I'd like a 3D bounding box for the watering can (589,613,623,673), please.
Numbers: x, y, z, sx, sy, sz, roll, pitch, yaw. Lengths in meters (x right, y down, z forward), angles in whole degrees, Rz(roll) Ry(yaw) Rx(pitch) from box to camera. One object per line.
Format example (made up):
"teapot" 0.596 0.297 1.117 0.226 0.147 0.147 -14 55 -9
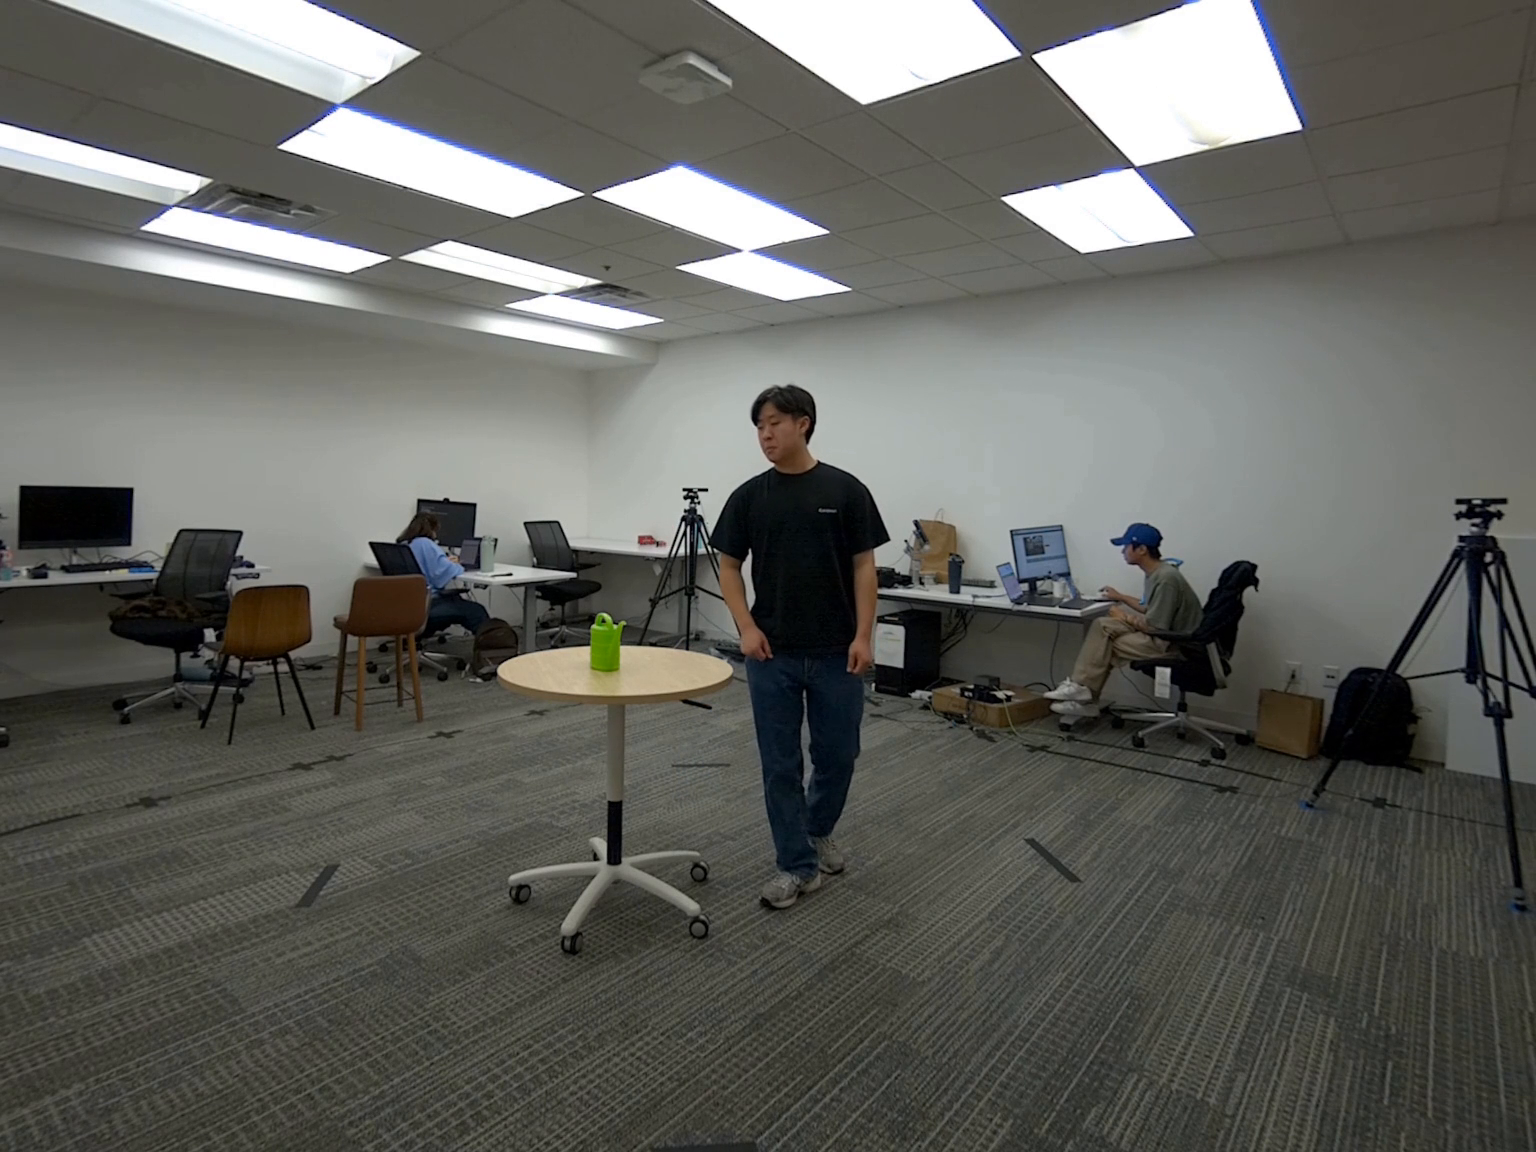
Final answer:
"watering can" -0.532 0.215 2.754 0.096 0.176 0.283 -1 5 -15
